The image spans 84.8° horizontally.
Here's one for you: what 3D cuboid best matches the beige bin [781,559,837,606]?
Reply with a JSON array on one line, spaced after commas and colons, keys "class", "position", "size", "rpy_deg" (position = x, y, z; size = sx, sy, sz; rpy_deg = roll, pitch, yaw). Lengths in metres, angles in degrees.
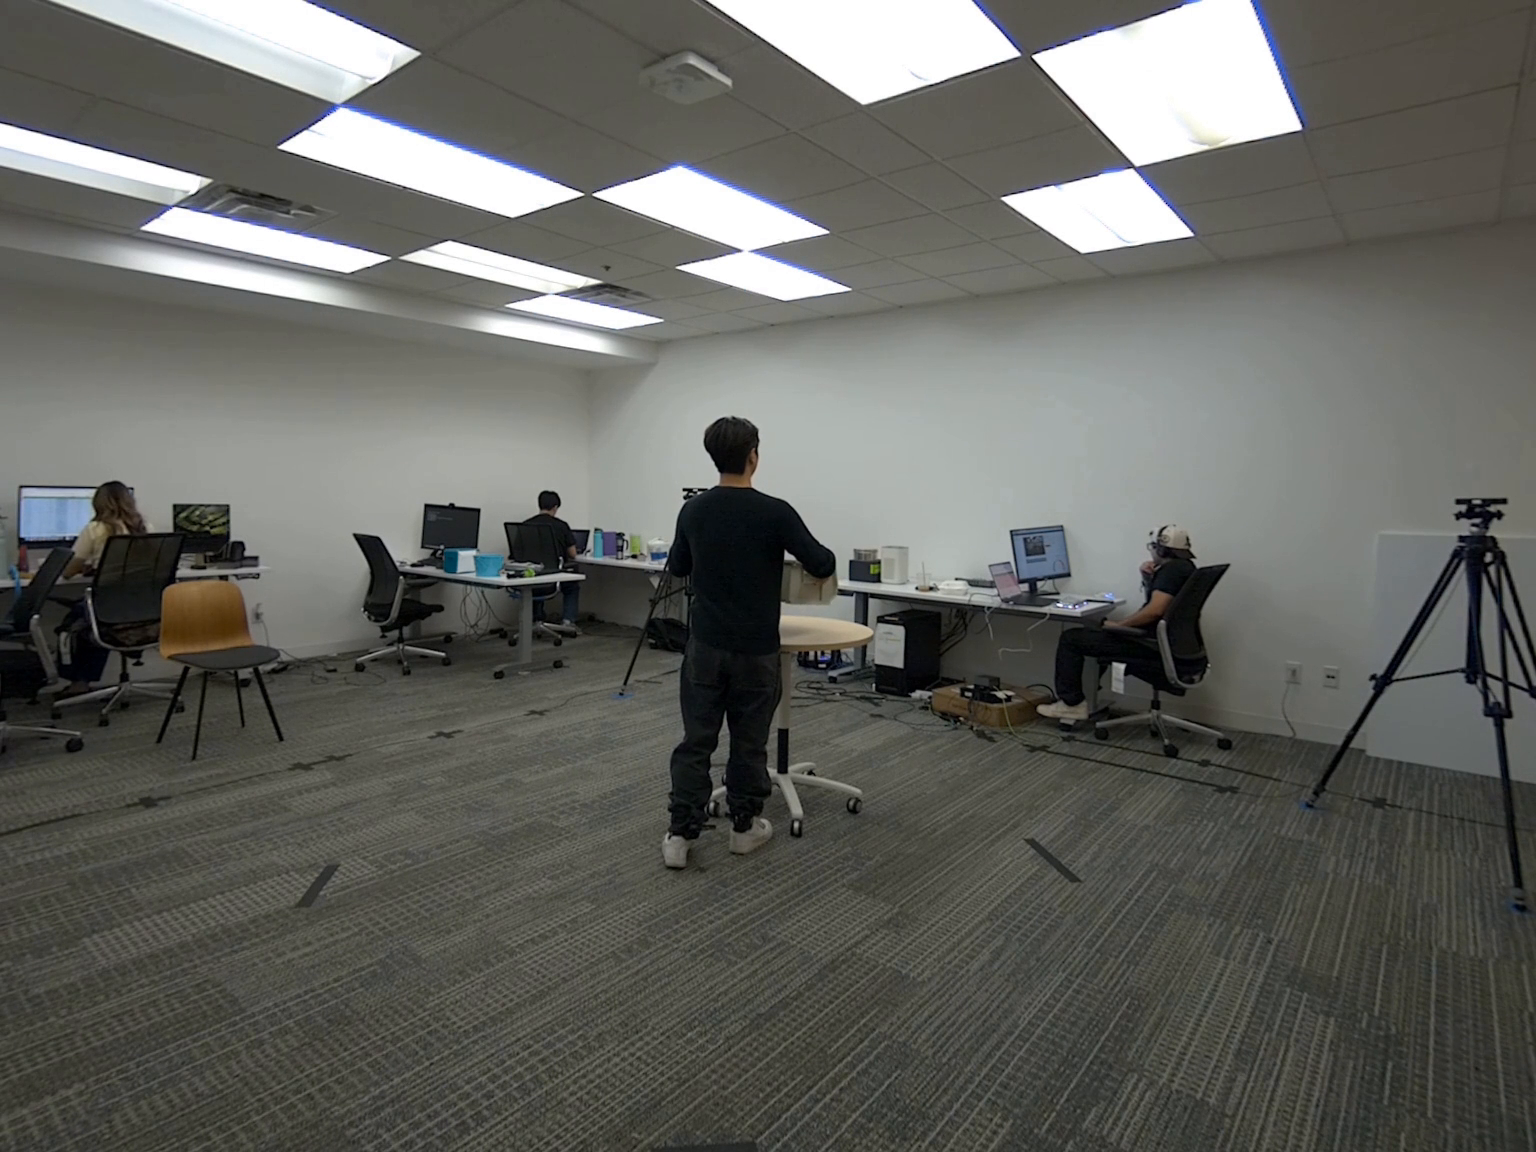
[{"class": "beige bin", "position": [0.020, 0.010, 3.685], "size": [0.436, 0.189, 0.365], "rpy_deg": [5, 3, 37]}]
